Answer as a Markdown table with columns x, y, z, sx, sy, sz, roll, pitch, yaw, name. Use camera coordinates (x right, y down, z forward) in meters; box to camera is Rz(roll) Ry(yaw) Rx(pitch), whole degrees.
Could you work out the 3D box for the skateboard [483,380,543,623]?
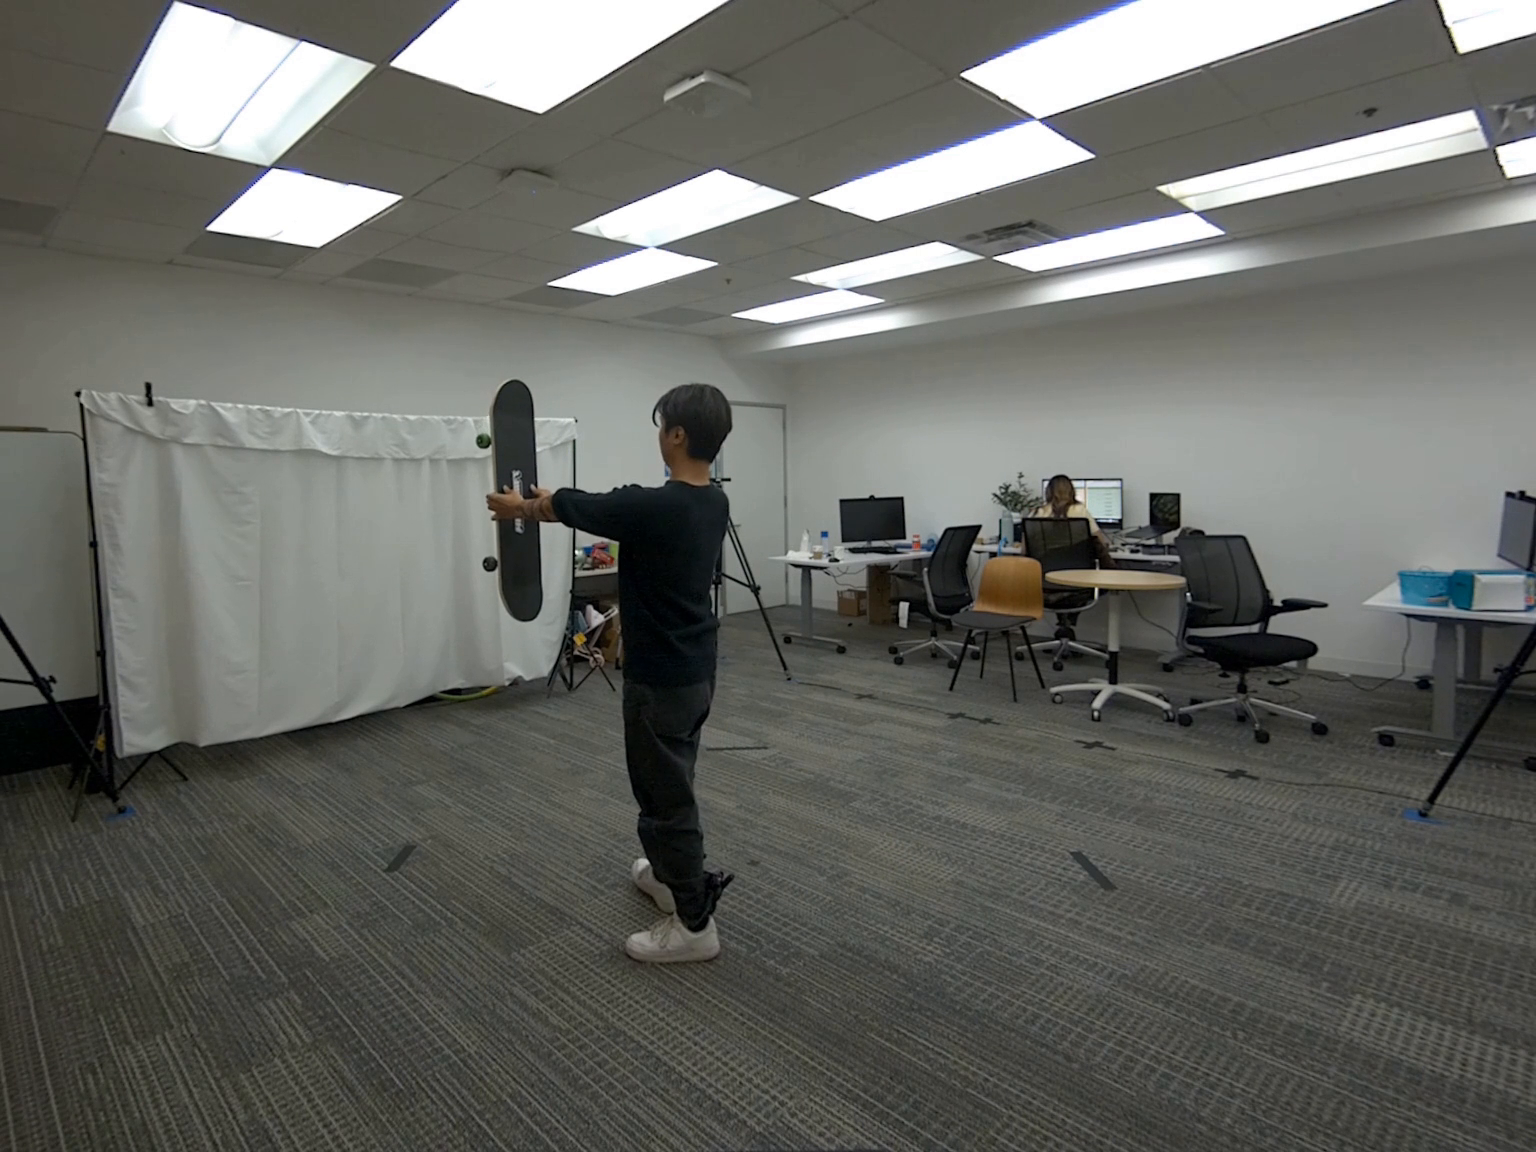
| x | y | z | sx | sy | sz | roll | pitch | yaw | name |
| --- | --- | --- | --- | --- | --- | --- | --- | --- | --- |
| -0.845 | -0.242 | 2.811 | 0.113 | 0.783 | 0.189 | -1 | 3 | 29 | skateboard |
